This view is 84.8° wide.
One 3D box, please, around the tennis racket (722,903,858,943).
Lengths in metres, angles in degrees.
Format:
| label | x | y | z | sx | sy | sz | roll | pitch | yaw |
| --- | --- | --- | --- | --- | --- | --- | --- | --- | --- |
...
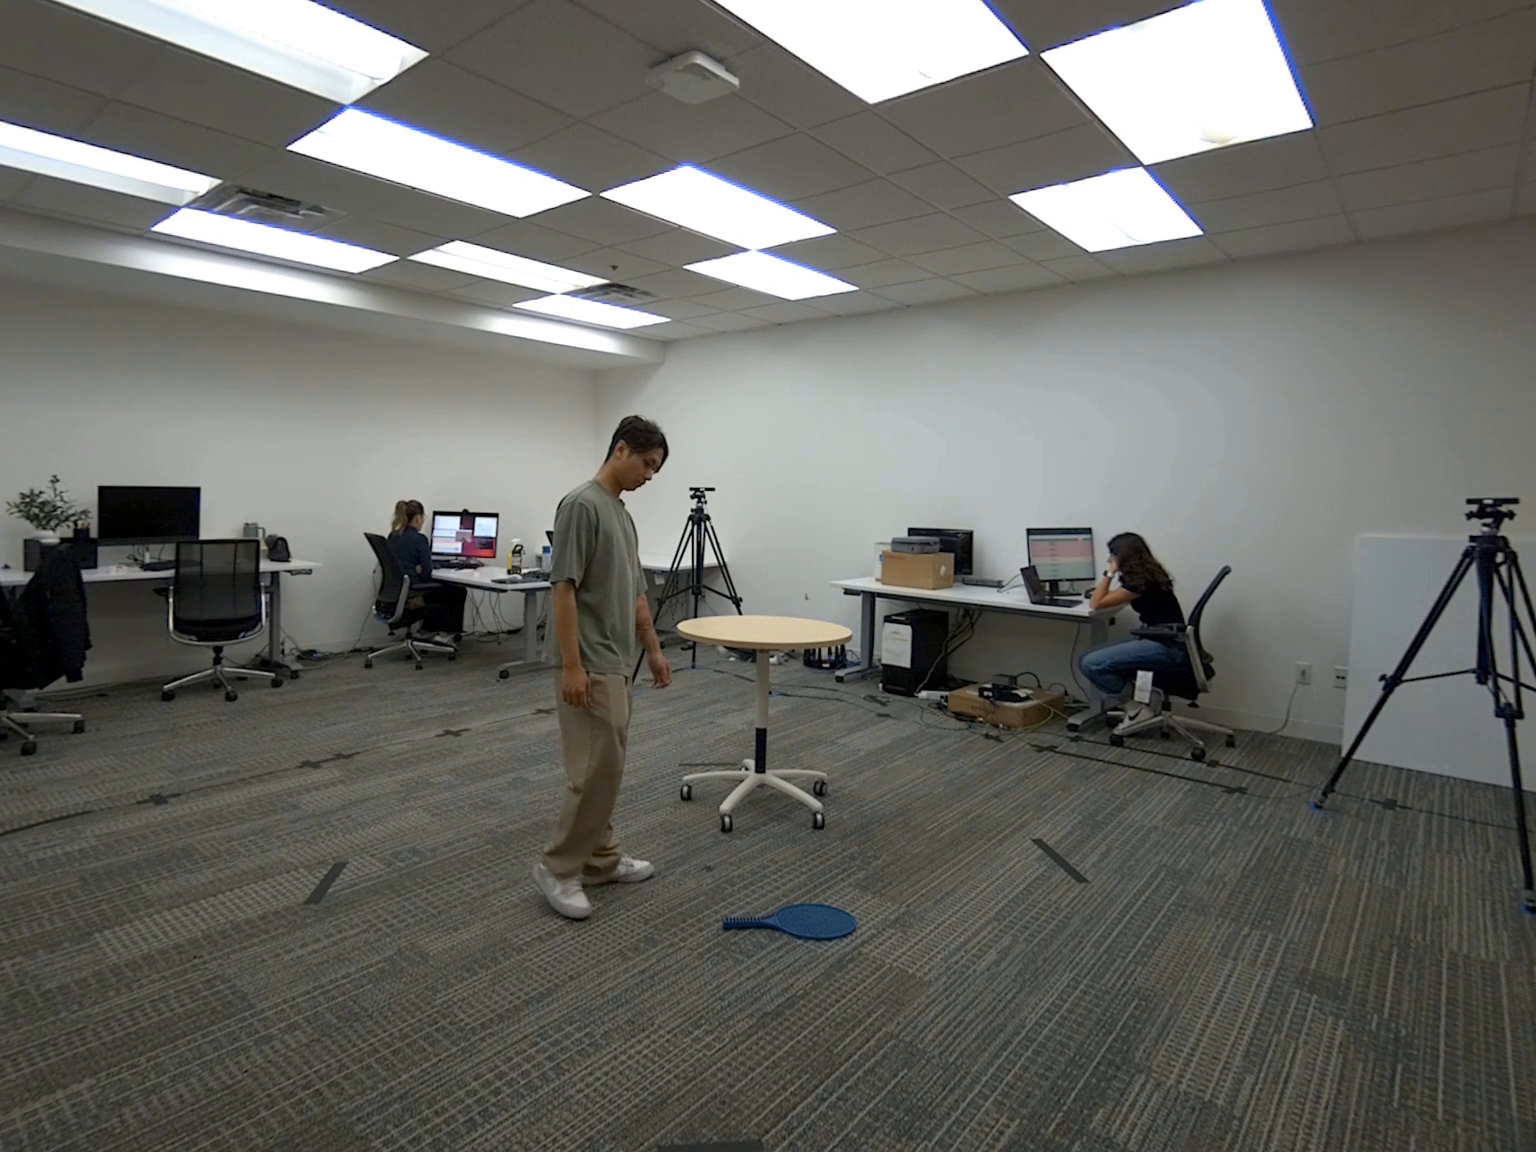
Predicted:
| label | x | y | z | sx | sy | sz | roll | pitch | yaw |
| --- | --- | --- | --- | --- | --- | --- | --- | --- | --- |
| tennis racket | 0.058 | 1.095 | 2.714 | 0.428 | 0.031 | 0.217 | 1 | 7 | -12 |
